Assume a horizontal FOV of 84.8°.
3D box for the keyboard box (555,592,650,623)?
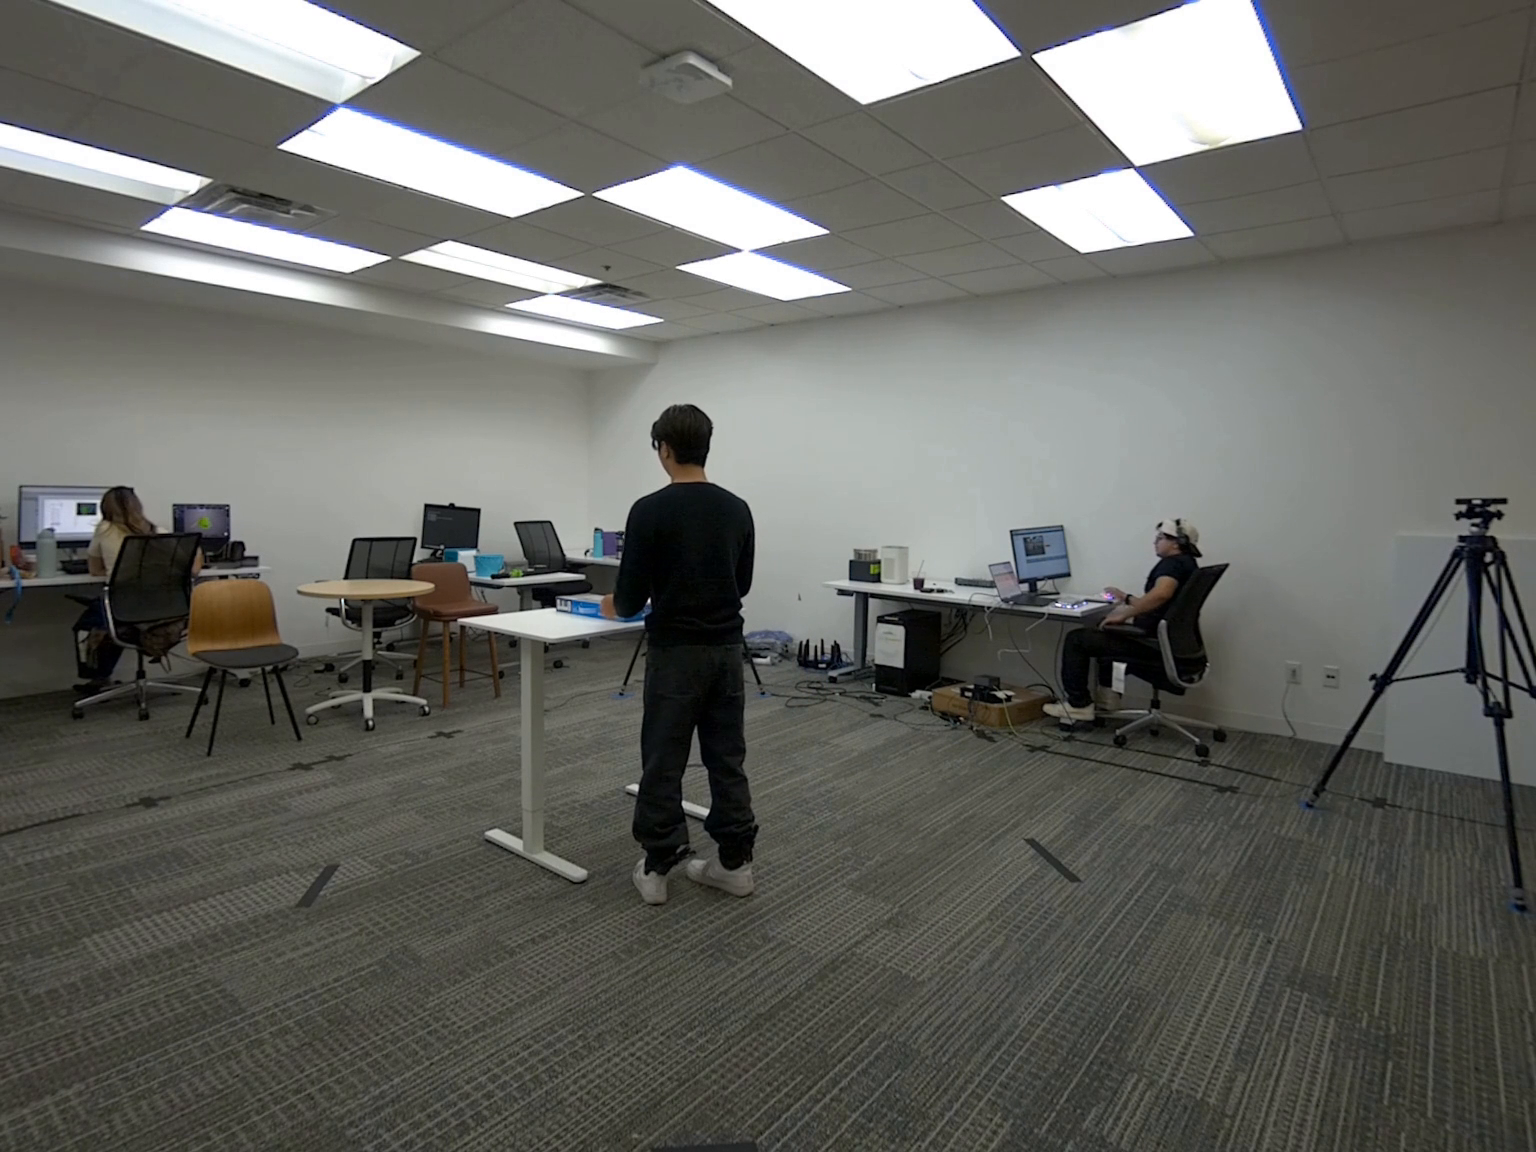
[{"bbox_3d":[-0.658,0.122,3.389,0.452,0.059,0.171,6,7,43],"label":"keyboard box"}]
